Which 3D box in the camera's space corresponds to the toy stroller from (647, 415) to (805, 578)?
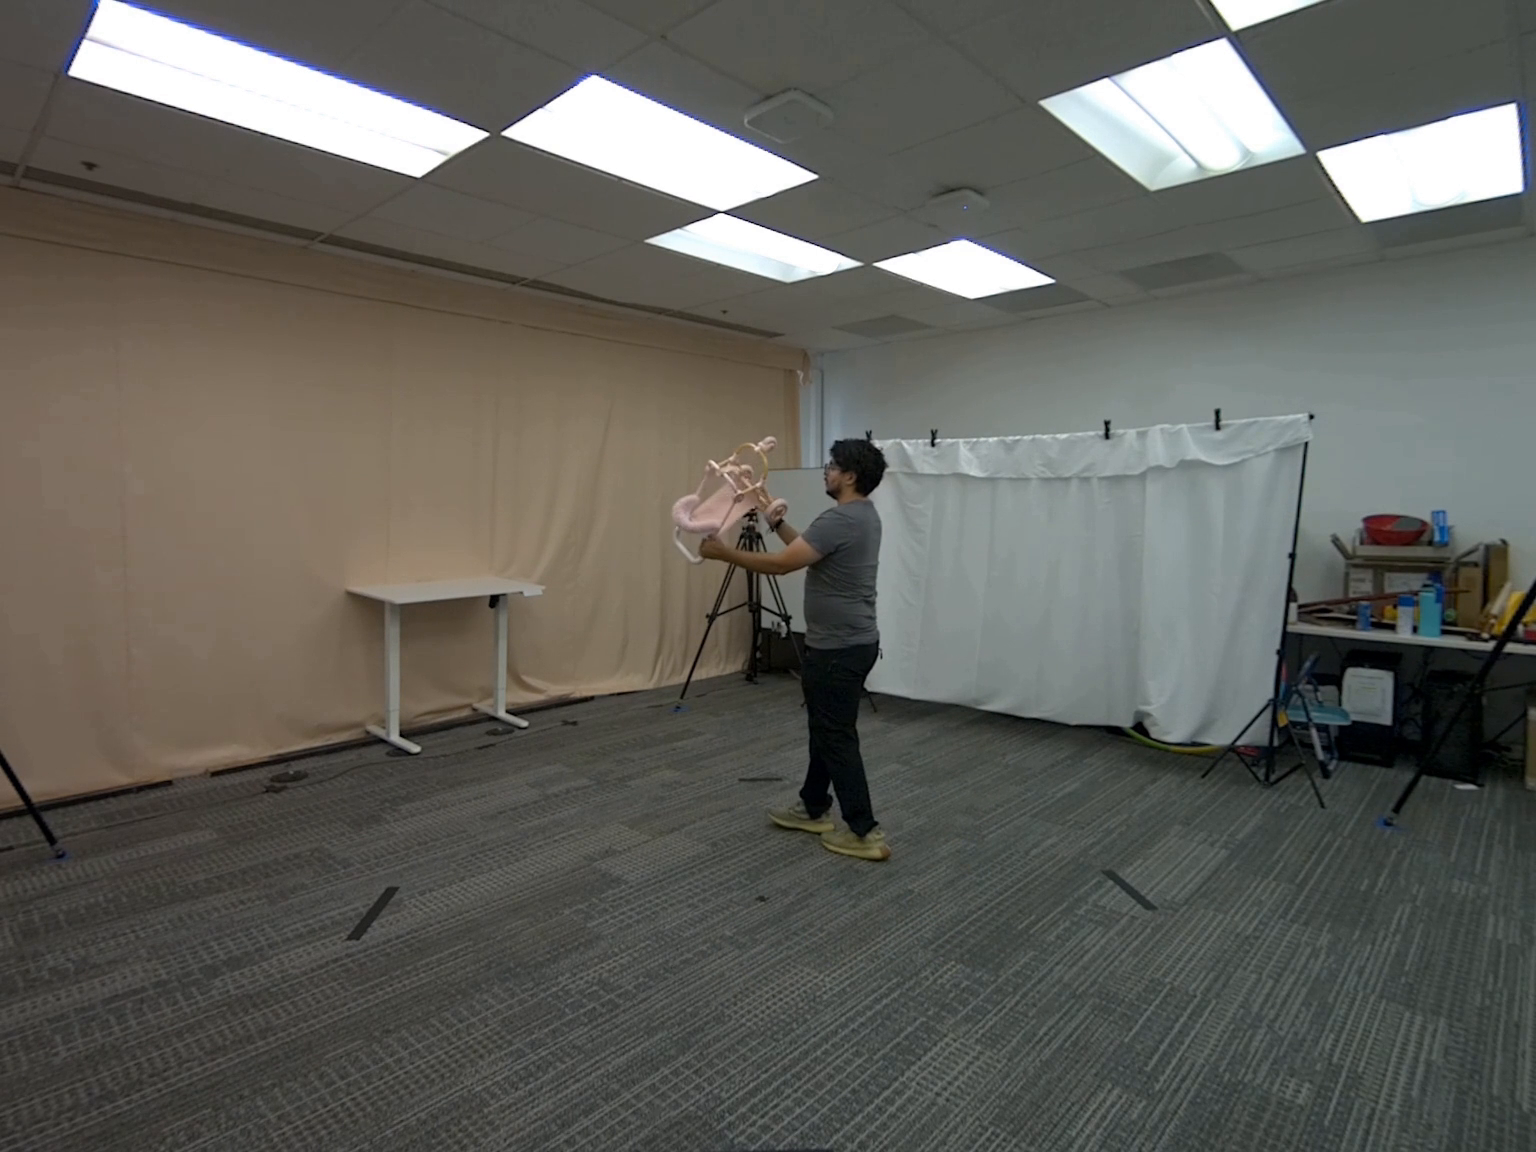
[{"bbox_3d":[-0.159,-0.320,3.412,0.531,0.290,0.333,-34,-28,-13],"label":"toy stroller"}]
